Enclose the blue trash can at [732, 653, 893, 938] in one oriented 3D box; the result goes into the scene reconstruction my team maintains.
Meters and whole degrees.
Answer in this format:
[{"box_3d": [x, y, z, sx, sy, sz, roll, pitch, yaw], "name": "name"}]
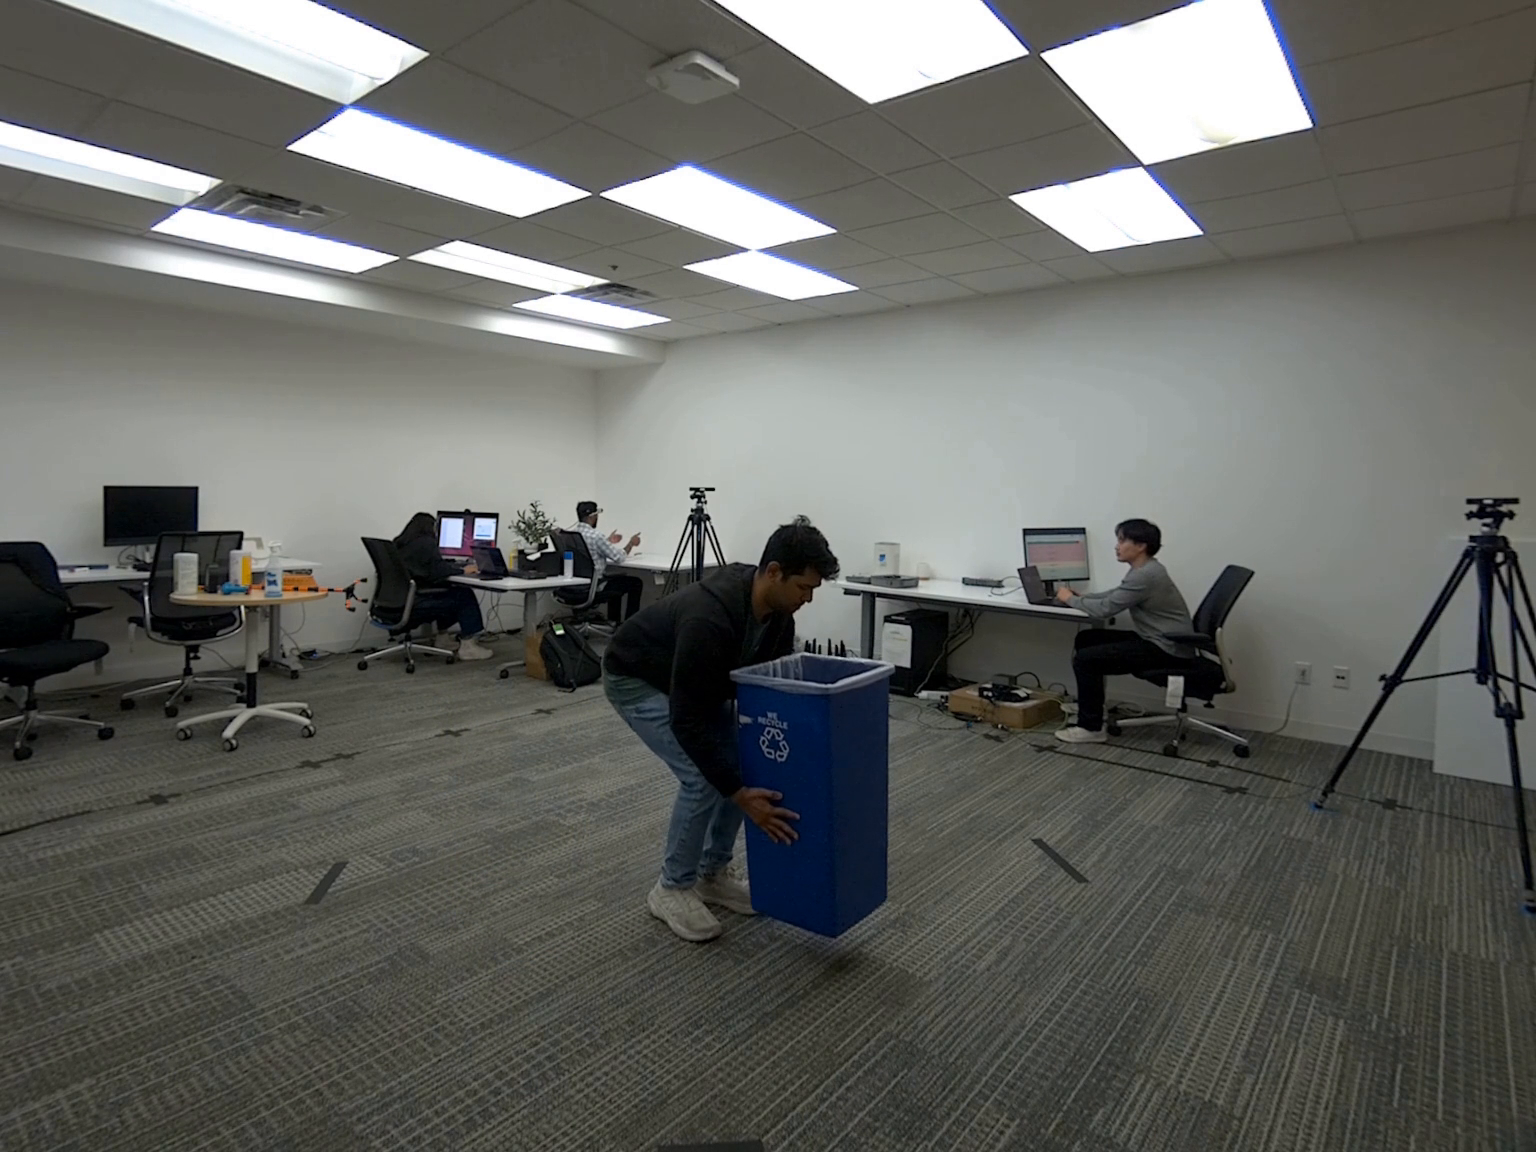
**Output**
[{"box_3d": [0.140, 0.624, 2.529, 0.386, 0.712, 0.367, 0, 3, 38], "name": "blue trash can"}]
